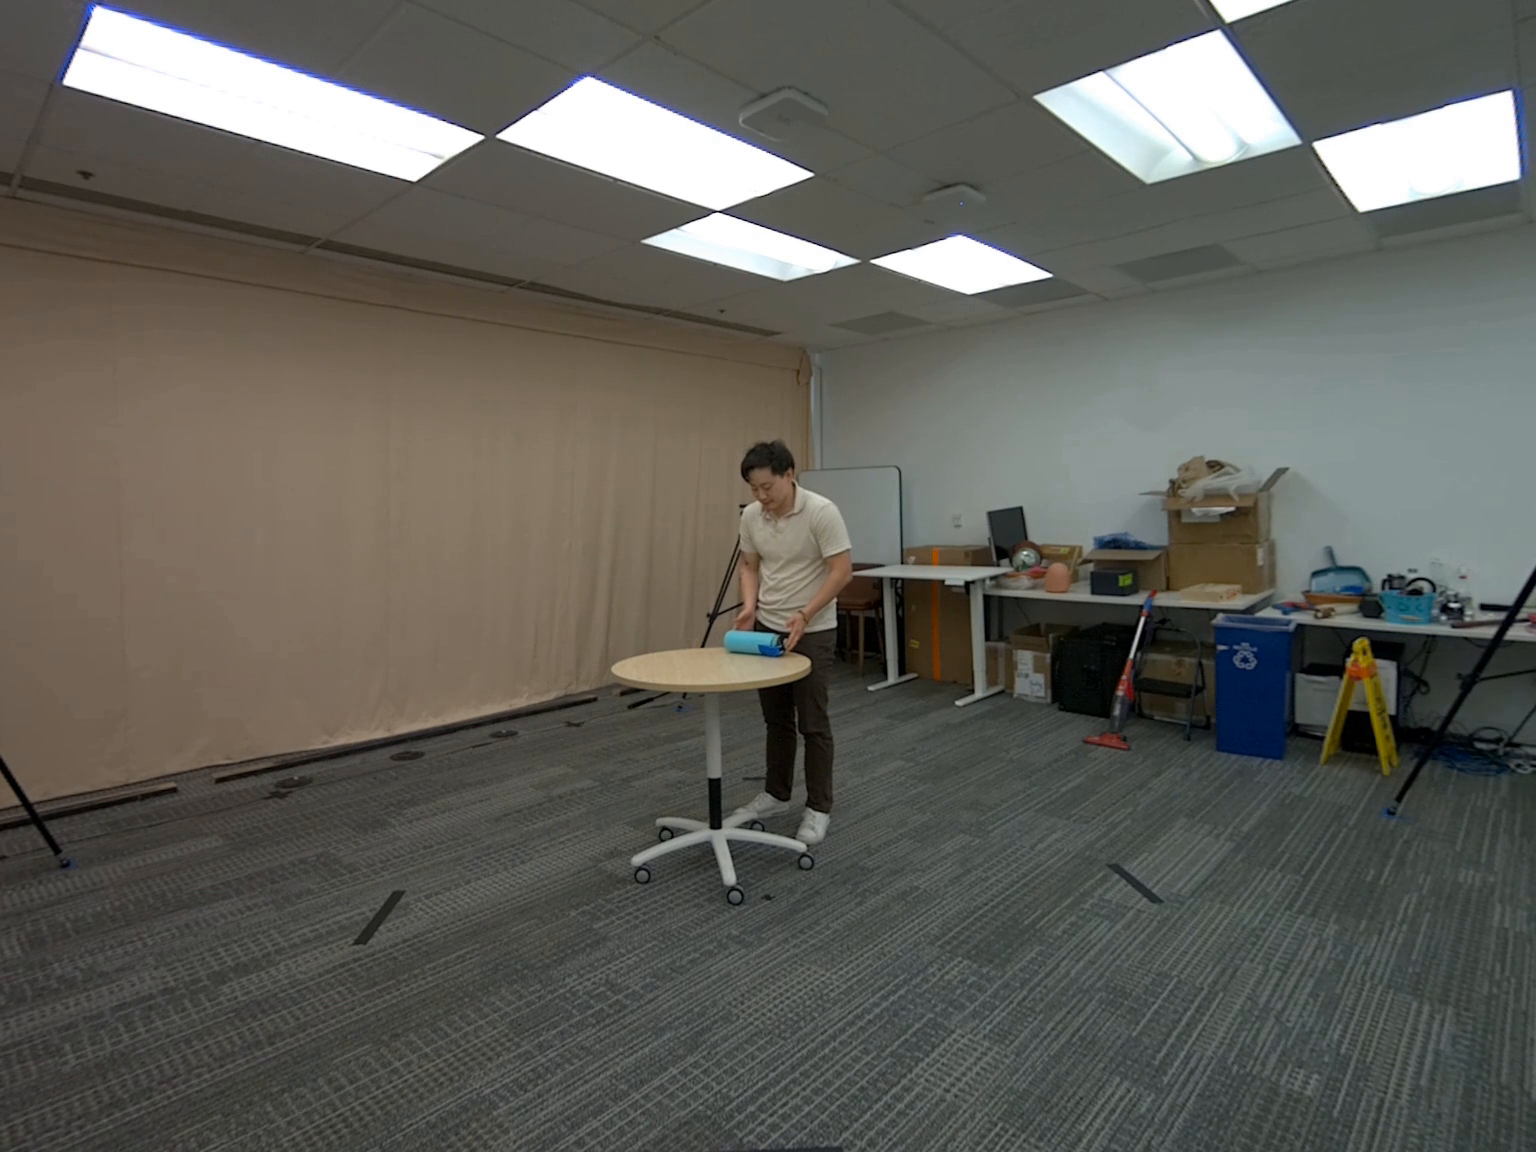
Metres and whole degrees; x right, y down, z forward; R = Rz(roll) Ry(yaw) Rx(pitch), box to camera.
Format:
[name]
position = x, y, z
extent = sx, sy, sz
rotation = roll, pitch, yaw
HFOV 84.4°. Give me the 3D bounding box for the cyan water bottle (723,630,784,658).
[cyan water bottle]
position = -0.046, 0.273, 3.417
extent = 0.292, 0.092, 0.089
rotation = 3, 5, 37
